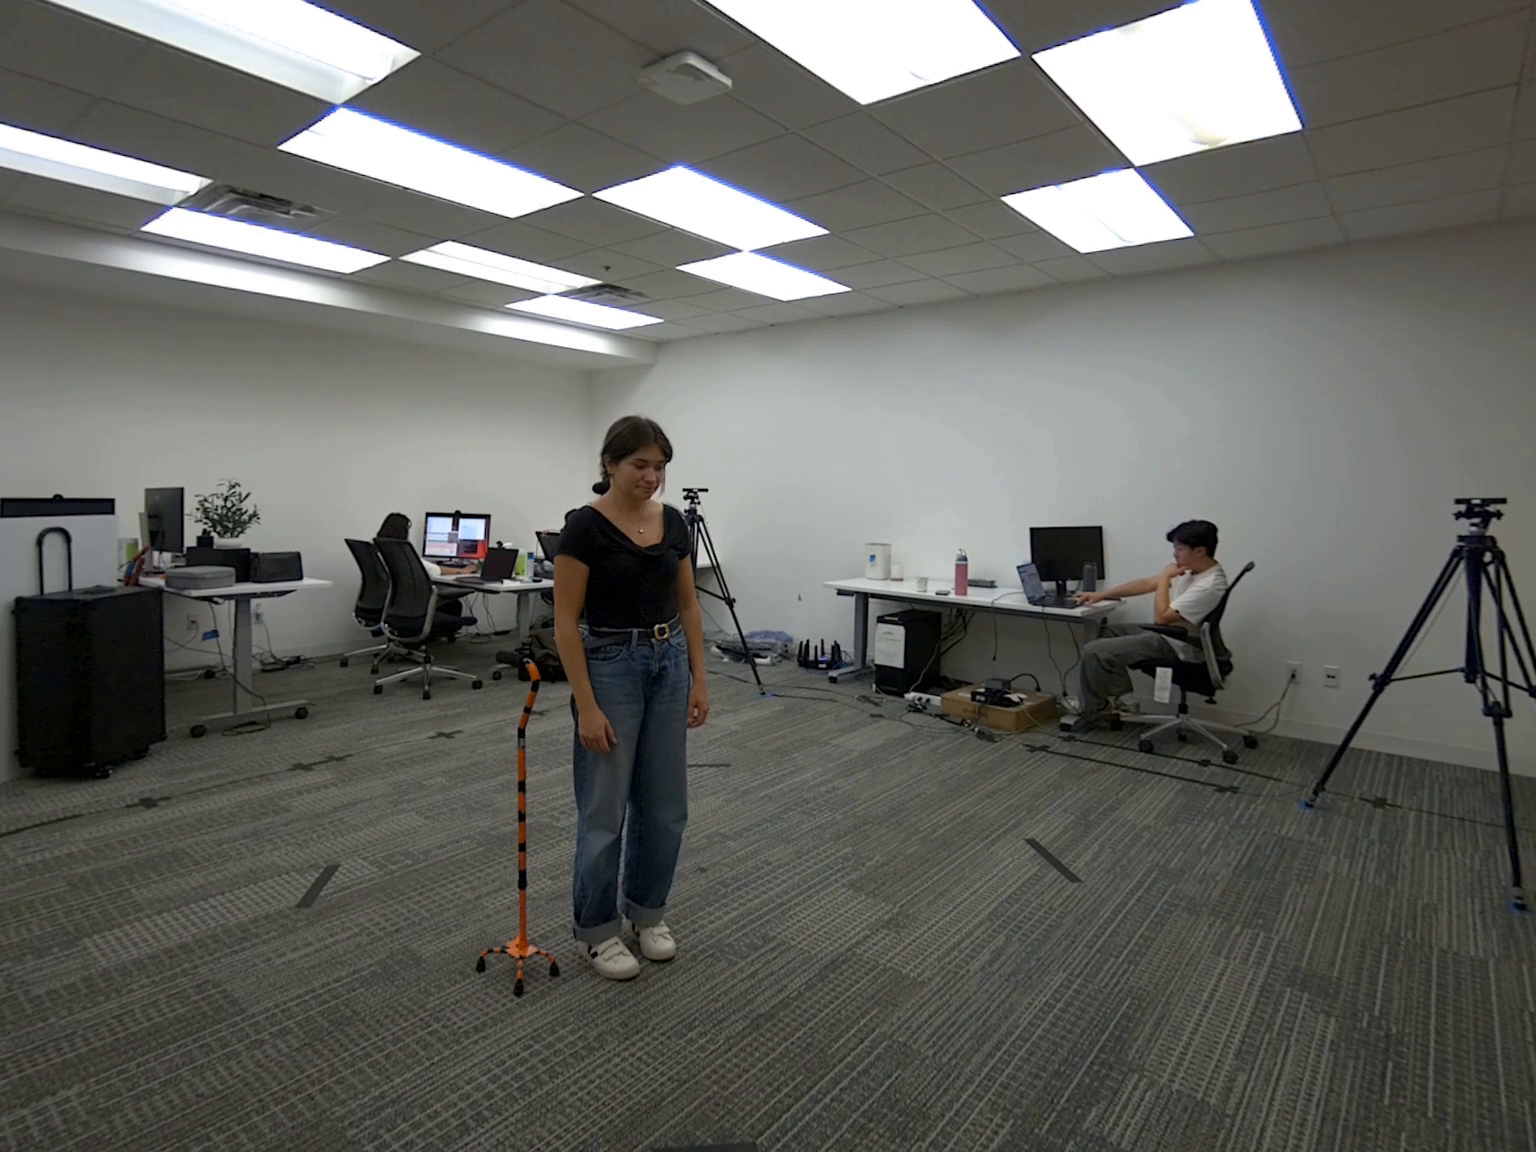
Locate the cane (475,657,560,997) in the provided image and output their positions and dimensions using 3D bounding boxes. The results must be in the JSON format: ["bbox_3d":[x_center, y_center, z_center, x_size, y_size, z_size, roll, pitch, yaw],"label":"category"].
[{"bbox_3d":[-0.718,0.679,2.419,0.213,0.906,0.147,2,3,38],"label":"cane"}]
